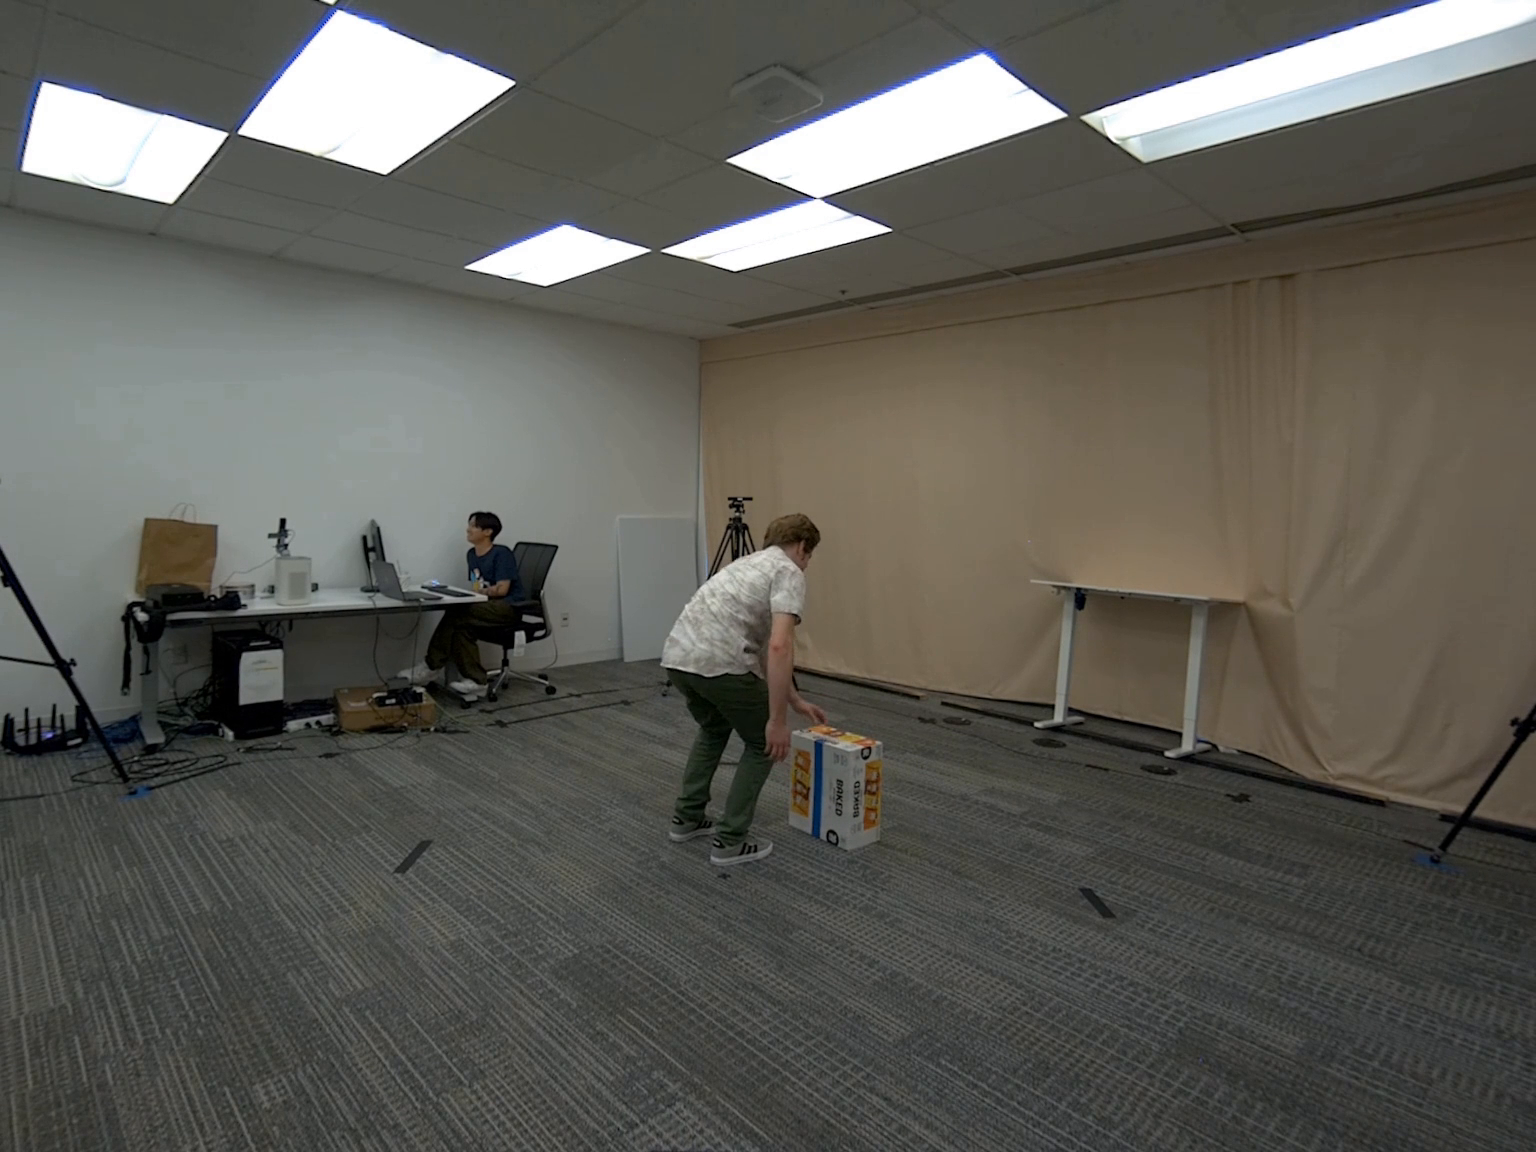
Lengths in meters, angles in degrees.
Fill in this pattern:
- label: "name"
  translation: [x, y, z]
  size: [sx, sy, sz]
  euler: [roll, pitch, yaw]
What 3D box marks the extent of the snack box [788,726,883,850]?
- label: "snack box"
  translation: [0.275, 0.877, 3.538]
  size: [0.201, 0.404, 0.349]
  euler: [-1, 4, -41]
